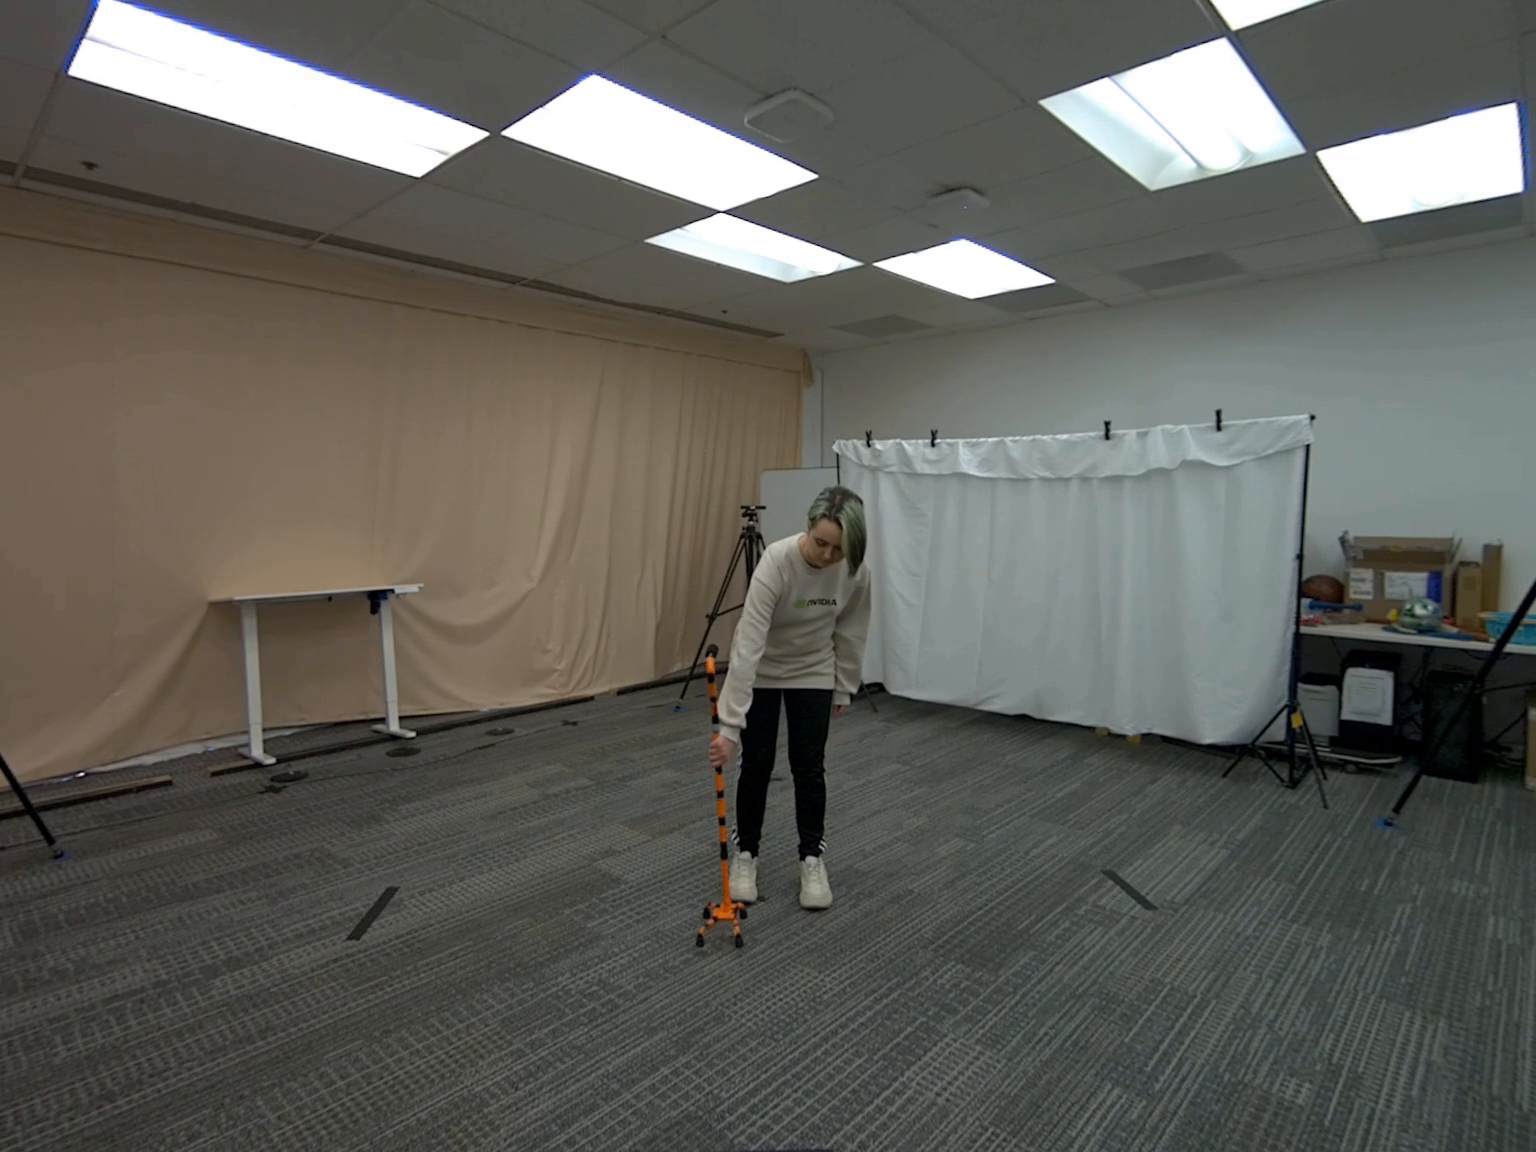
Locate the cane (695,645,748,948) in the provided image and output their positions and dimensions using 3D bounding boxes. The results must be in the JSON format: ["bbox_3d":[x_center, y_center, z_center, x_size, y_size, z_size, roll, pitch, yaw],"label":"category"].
[{"bbox_3d":[-0.159,0.684,2.666,0.152,0.905,0.206,-3,4,2],"label":"cane"}]
